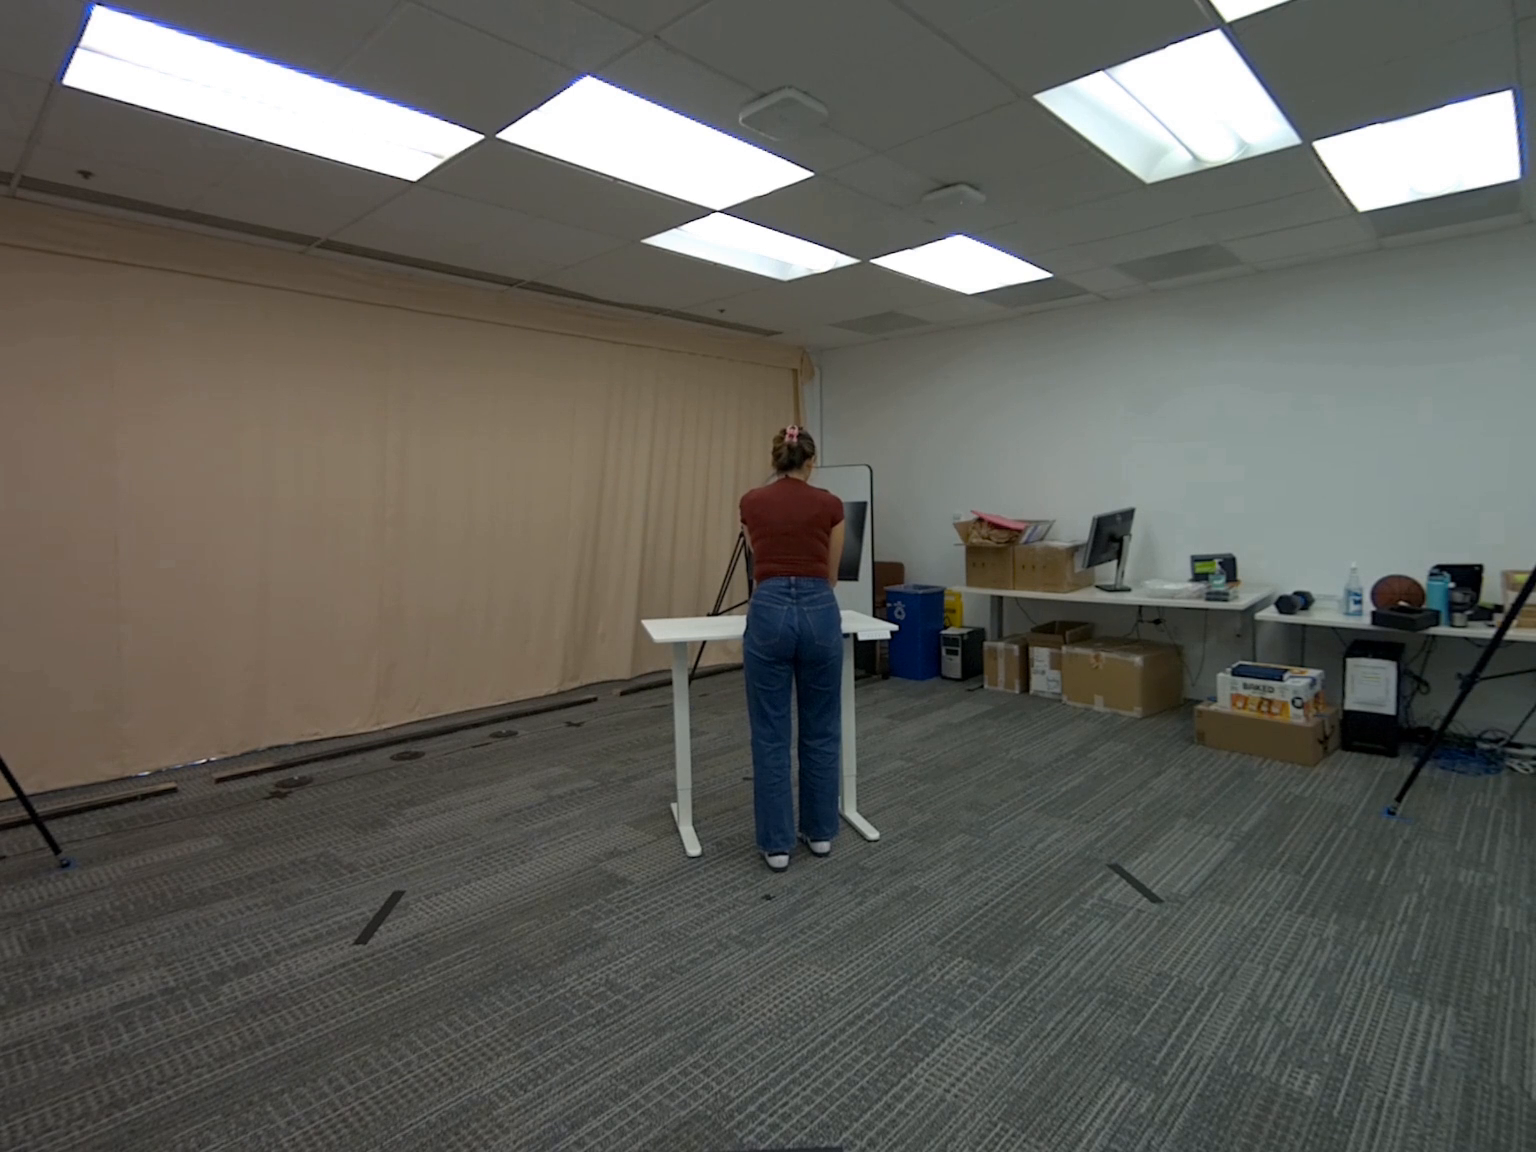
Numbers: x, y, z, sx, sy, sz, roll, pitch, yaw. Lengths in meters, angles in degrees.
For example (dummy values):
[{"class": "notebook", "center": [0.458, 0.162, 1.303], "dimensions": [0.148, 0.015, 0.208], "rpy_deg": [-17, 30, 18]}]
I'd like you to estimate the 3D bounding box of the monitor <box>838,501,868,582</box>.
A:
[{"class": "monitor", "center": [0.196, -0.064, 3.723], "dimensions": [0.554, 0.522, 0.182], "rpy_deg": [1, 0, 30]}]
